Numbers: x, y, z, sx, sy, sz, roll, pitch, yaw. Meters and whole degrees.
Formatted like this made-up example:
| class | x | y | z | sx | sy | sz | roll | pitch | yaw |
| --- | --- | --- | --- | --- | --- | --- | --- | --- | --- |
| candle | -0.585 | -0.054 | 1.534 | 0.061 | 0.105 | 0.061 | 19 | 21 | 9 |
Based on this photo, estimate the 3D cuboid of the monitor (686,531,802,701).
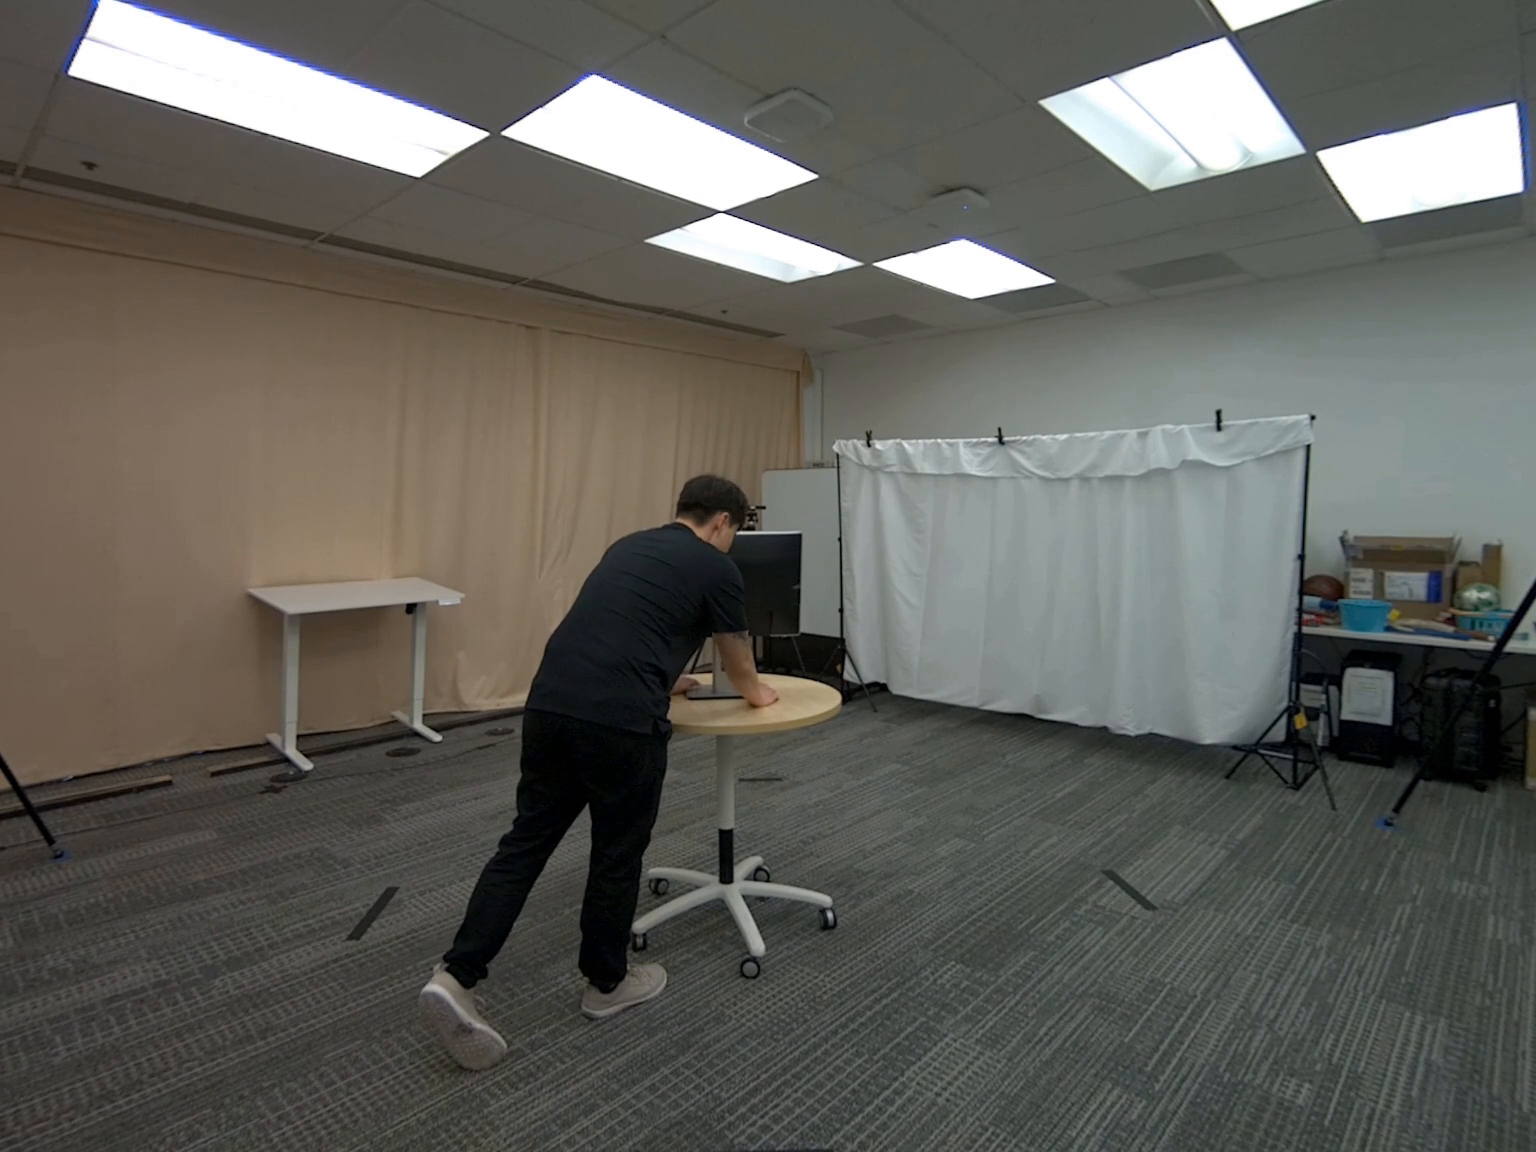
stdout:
| class | x | y | z | sx | sy | sz | roll | pitch | yaw |
| --- | --- | --- | --- | --- | --- | --- | --- | --- | --- |
| monitor | -0.162 | 0.133 | 2.808 | 0.535 | 0.522 | 0.188 | -1 | 1 | -7 |
